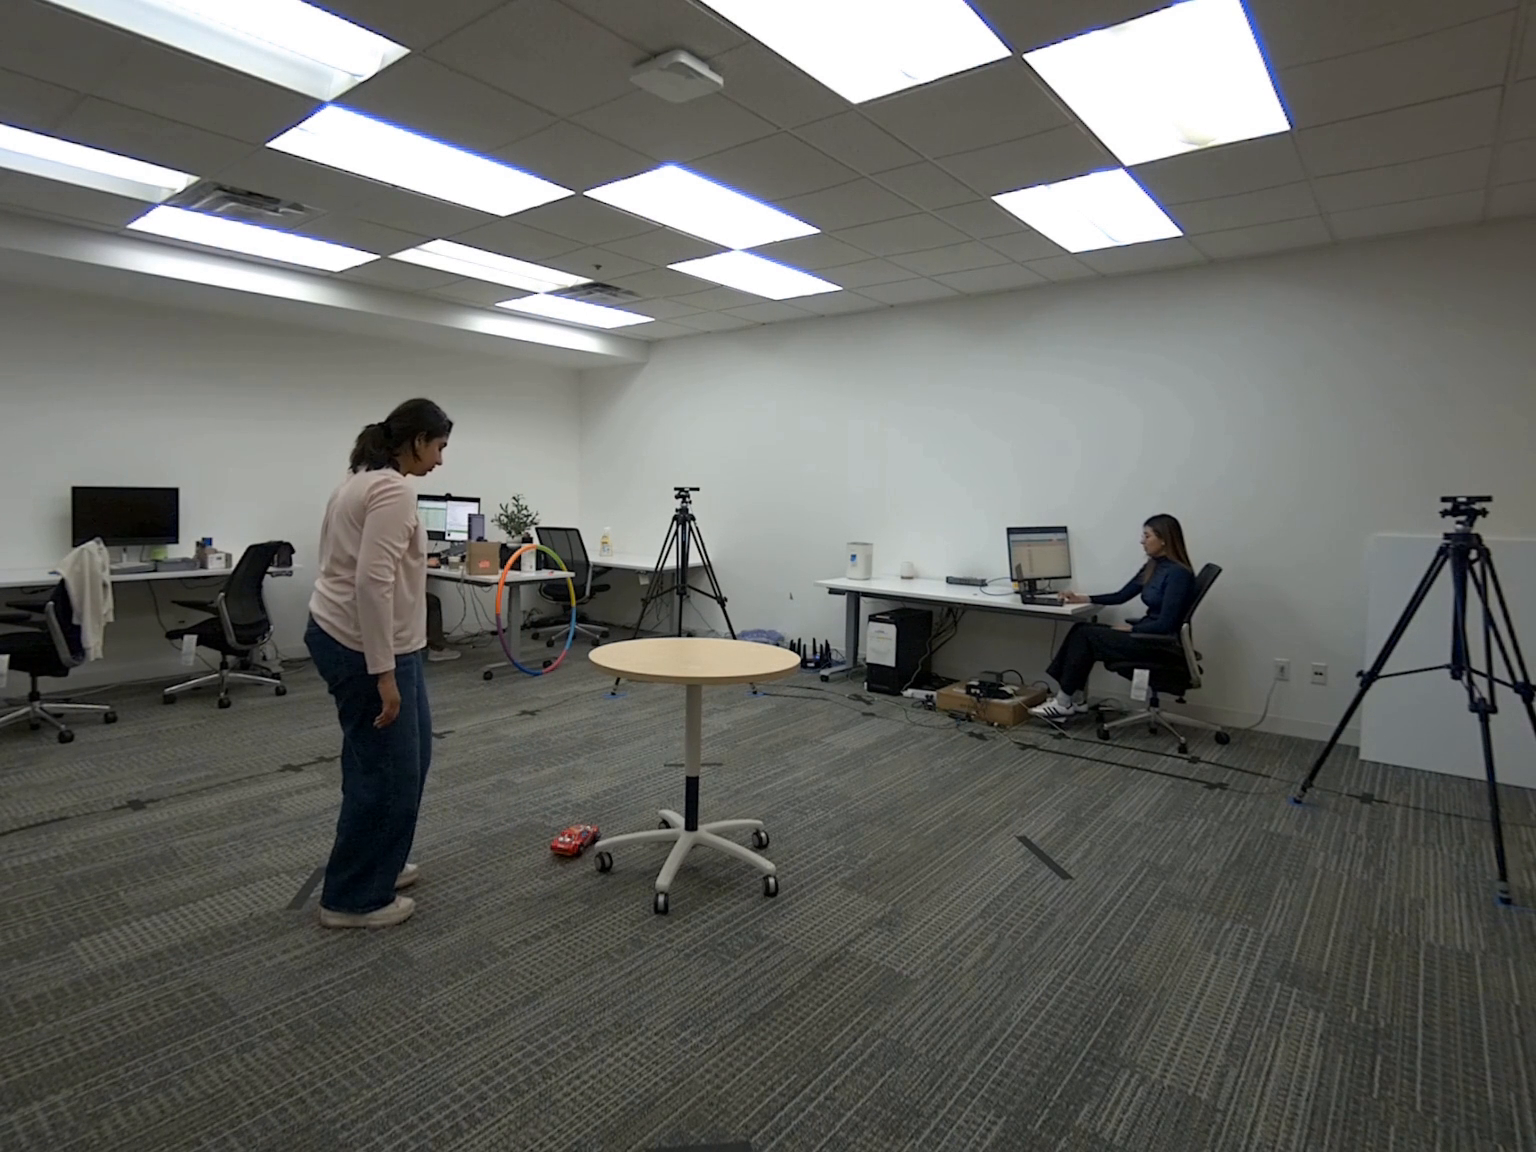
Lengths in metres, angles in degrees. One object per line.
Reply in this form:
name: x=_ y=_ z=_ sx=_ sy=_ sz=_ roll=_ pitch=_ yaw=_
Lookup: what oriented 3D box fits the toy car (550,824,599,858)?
toy car: x=-0.752 y=1.007 z=3.257 sx=0.133 sy=0.084 sz=0.248 roll=3 pitch=-6 yaw=15
